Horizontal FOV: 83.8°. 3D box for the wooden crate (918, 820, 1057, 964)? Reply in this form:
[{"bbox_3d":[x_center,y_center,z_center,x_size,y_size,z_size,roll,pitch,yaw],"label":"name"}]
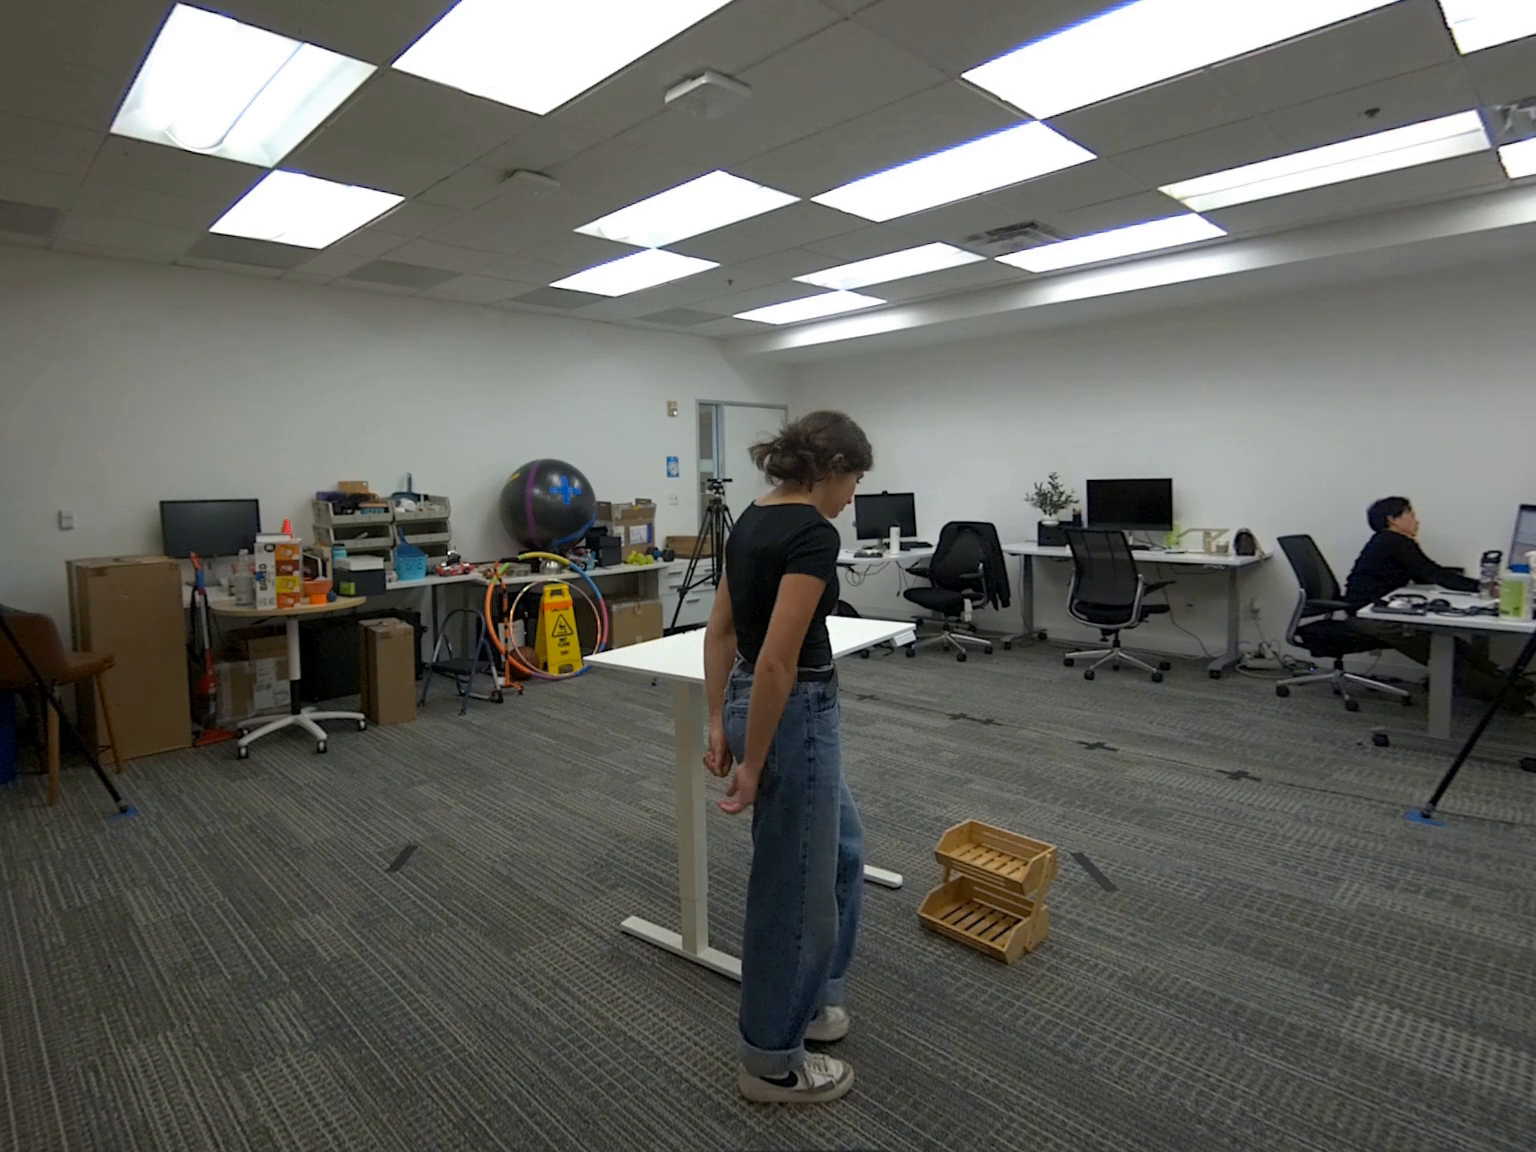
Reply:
[{"bbox_3d":[0.679,0.956,2.619,0.294,0.272,0.334,-5,6,-43],"label":"wooden crate"}]
